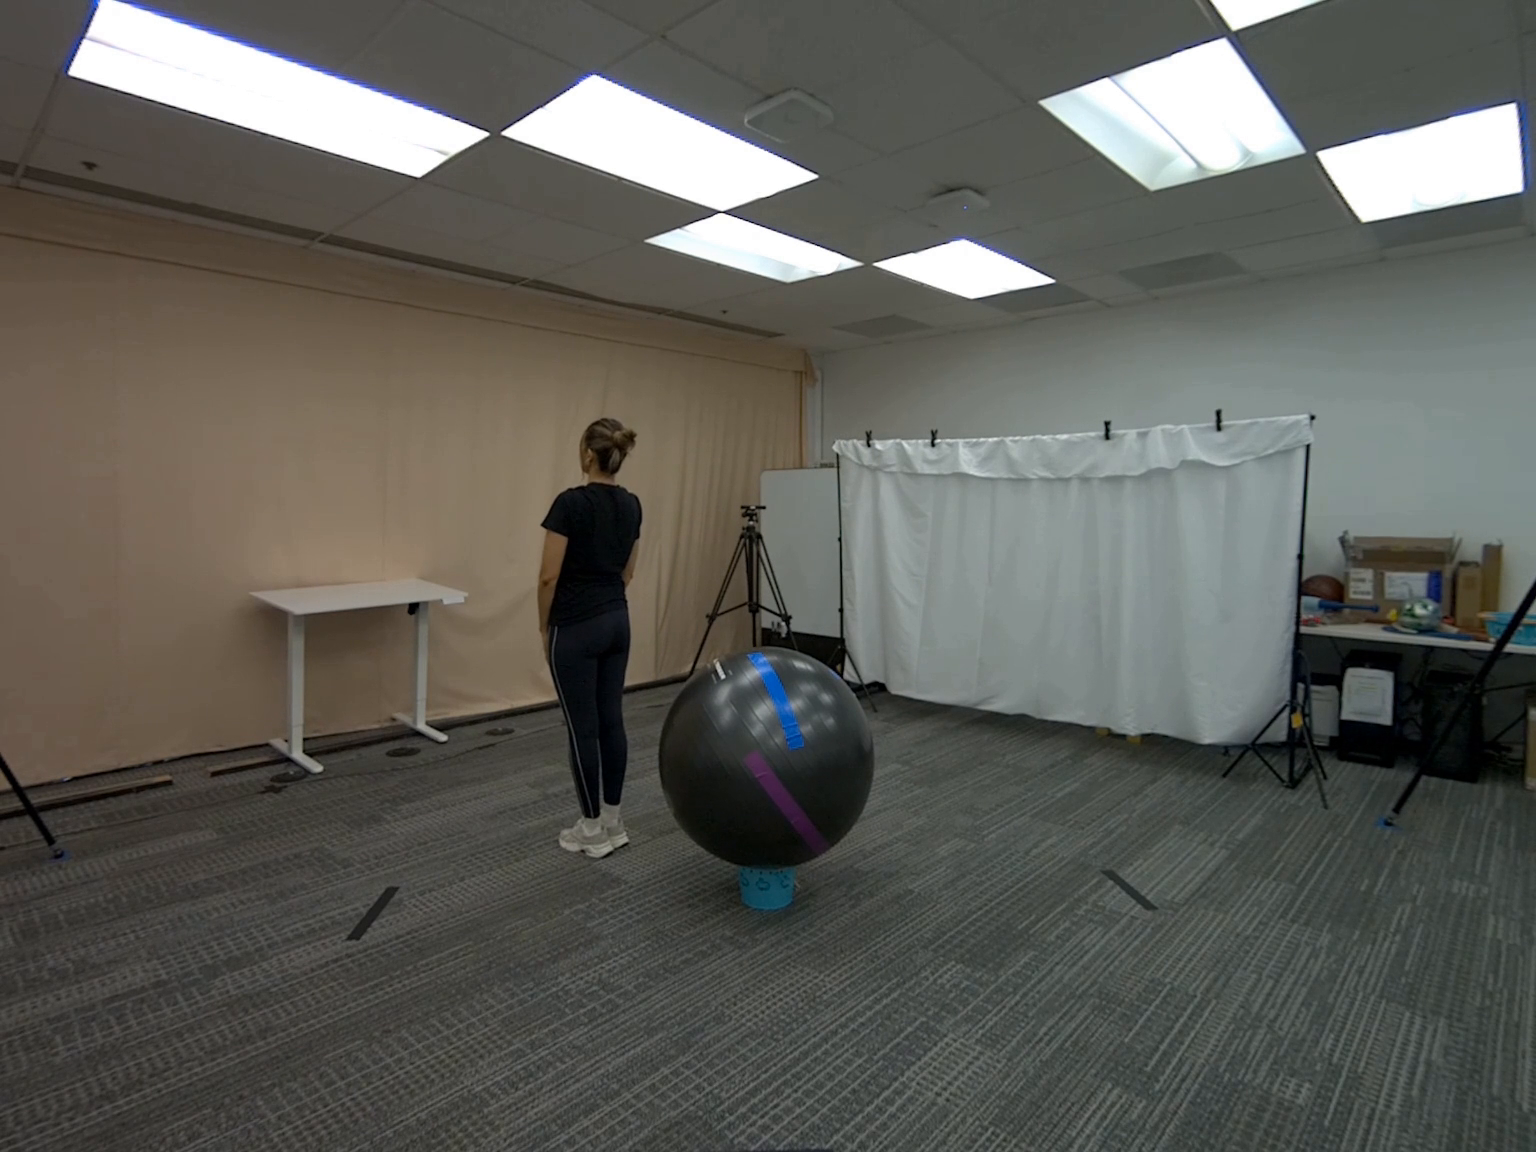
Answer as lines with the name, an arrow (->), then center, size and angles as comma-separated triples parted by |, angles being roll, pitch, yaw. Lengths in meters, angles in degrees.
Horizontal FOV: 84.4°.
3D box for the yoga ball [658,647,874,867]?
yoga ball -> -0.002, 0.634, 2.967 | 0.757, 0.756, 0.760 | 0, 4, -2
